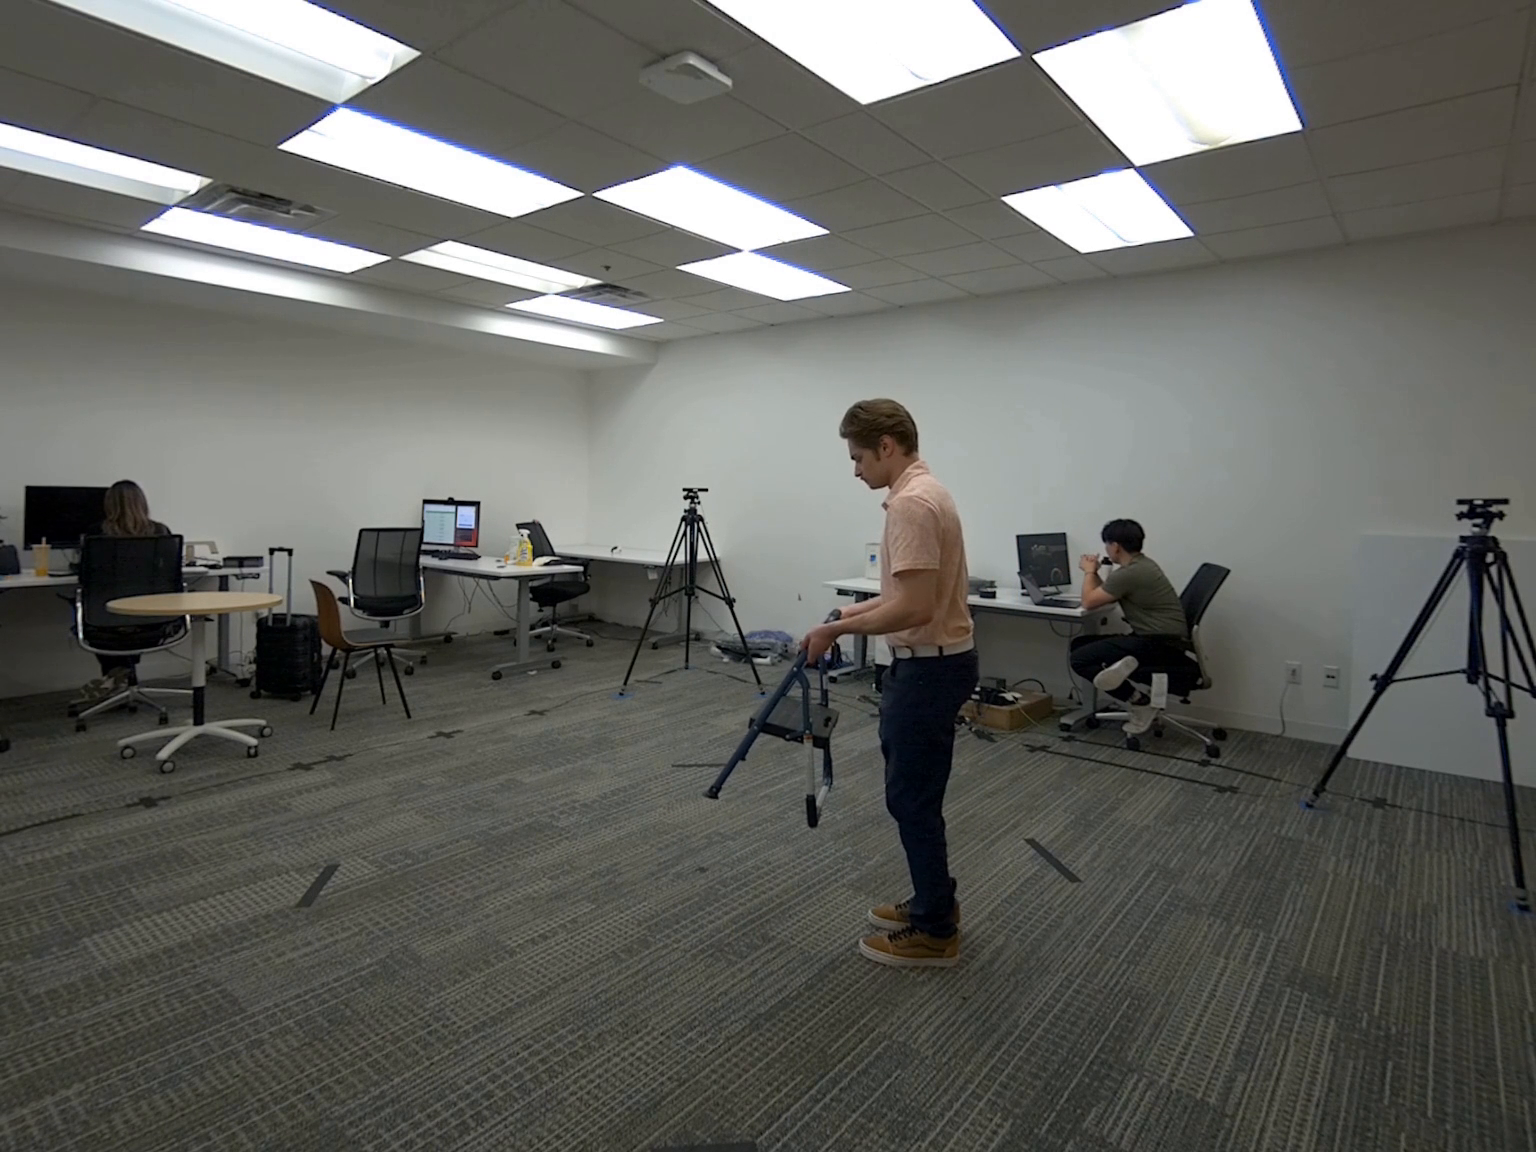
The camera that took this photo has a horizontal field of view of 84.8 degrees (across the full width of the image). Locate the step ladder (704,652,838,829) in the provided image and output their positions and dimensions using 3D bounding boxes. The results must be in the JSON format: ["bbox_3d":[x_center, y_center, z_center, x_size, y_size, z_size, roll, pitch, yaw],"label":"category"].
[{"bbox_3d":[0.073,0.392,2.684,0.355,0.604,0.425,13,6,12],"label":"step ladder"}]
